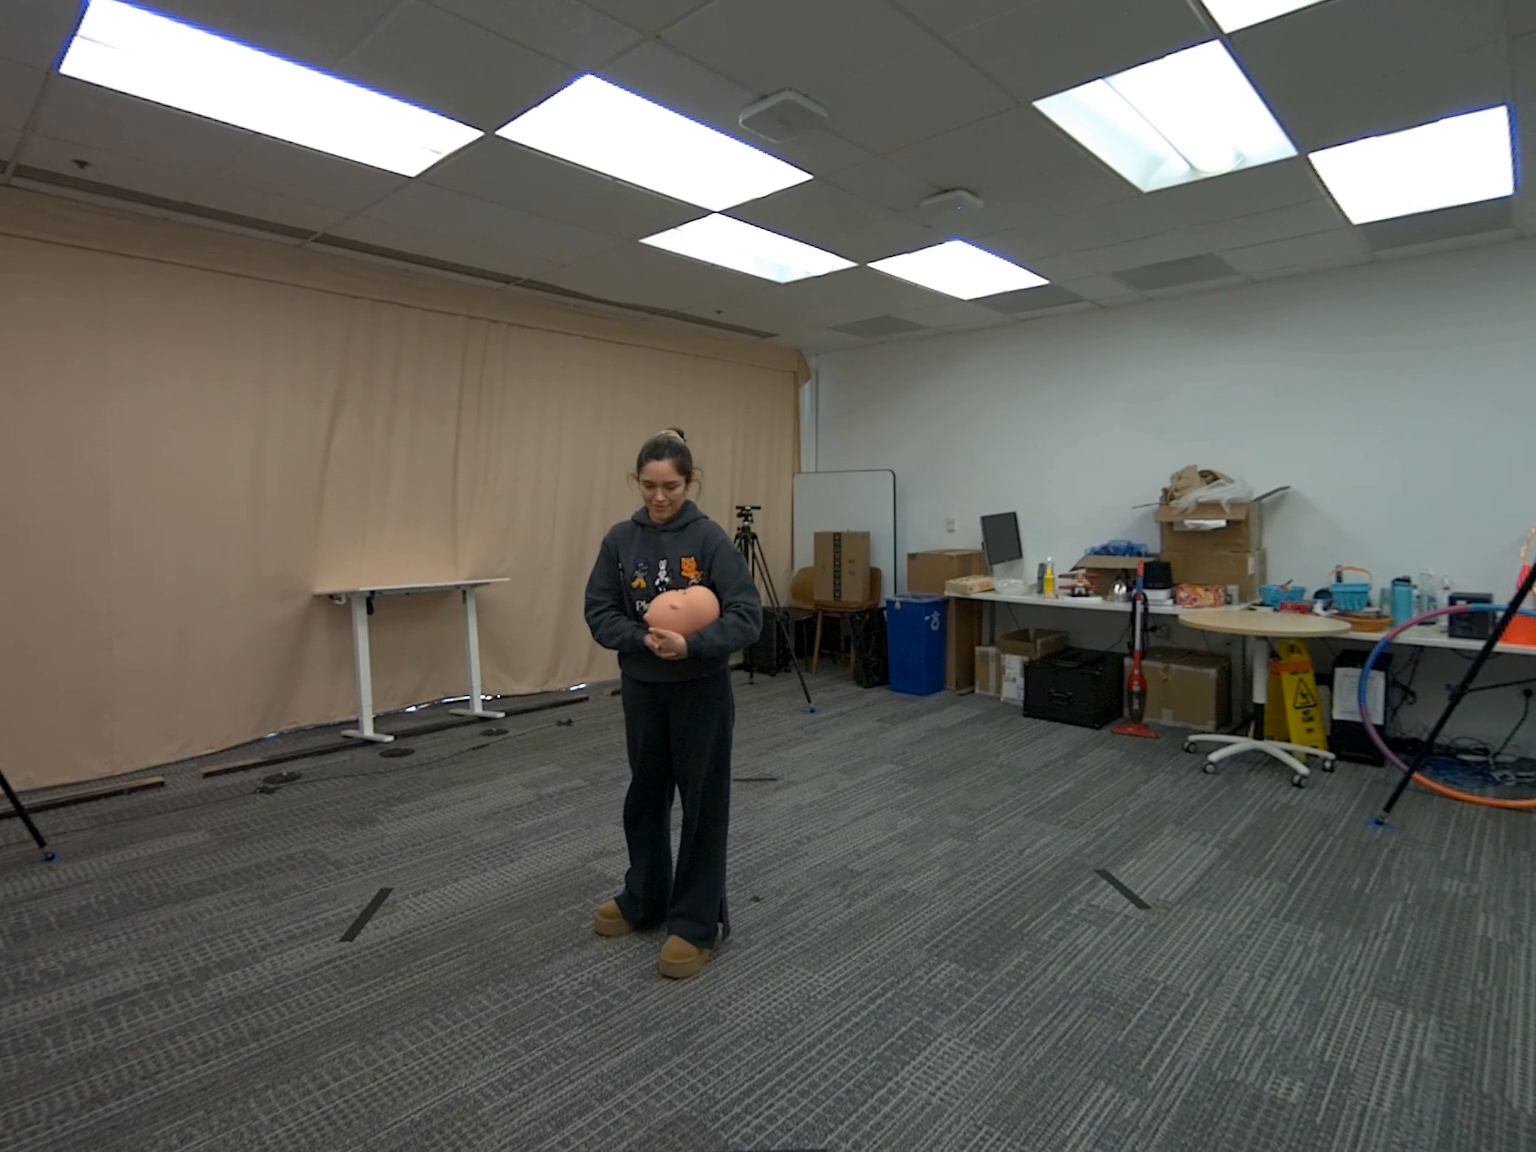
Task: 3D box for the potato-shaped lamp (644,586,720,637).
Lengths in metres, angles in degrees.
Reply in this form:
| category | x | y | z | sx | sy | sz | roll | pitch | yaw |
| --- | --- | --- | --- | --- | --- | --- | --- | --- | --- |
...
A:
| category | x | y | z | sx | sy | sz | roll | pitch | yaw |
| --- | --- | --- | --- | --- | --- | --- | --- | --- | --- |
| potato-shaped lamp | -0.232 | 0.107 | 2.455 | 0.200 | 0.170 | 0.165 | -33 | 10 | 15 |
